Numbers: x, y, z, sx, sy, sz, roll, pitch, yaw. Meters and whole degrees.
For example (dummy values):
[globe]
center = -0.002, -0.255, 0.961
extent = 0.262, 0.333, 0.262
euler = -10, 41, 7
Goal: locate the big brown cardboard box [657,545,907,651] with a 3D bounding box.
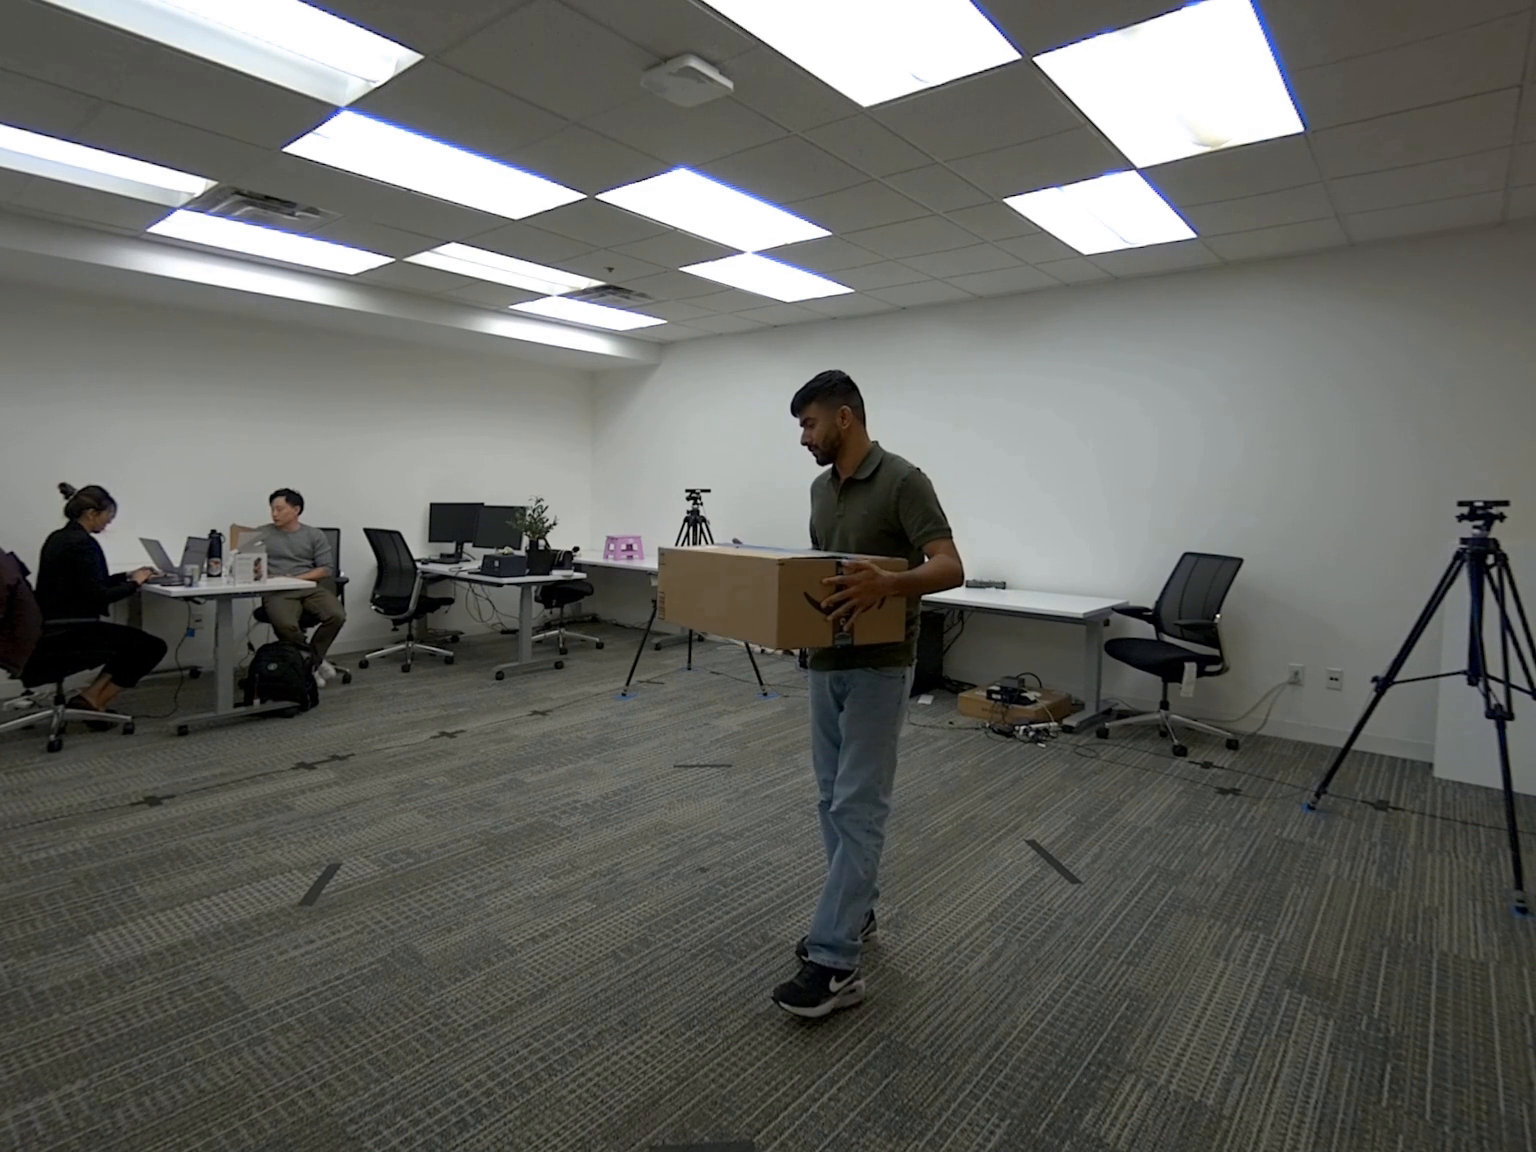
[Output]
[big brown cardboard box]
center = 0.007, 0.038, 2.310
extent = 0.405, 0.232, 0.609
euler = -1, 6, -36
